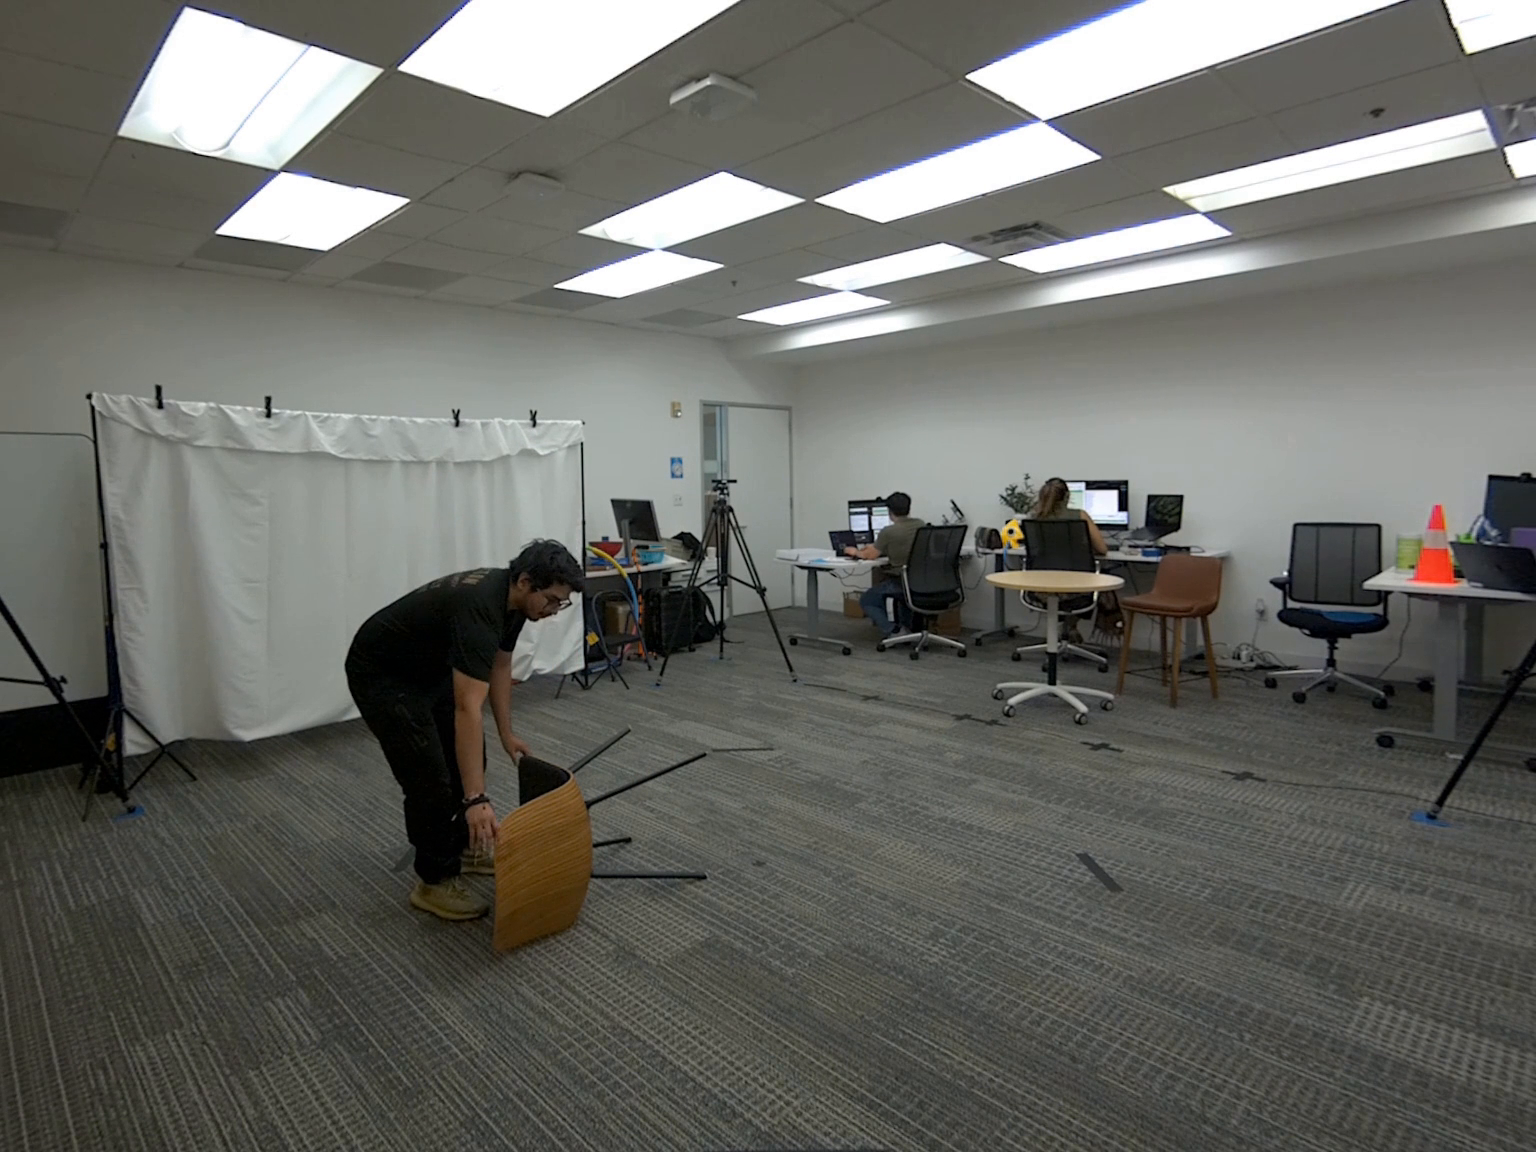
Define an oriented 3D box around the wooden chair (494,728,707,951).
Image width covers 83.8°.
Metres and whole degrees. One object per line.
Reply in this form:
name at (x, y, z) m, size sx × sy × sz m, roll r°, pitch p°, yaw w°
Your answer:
wooden chair at (-0.680, 0.856, 2.867) m, size 0.539 × 0.476 × 0.855 m, roll 4°, pitch 8°, yaw 40°
